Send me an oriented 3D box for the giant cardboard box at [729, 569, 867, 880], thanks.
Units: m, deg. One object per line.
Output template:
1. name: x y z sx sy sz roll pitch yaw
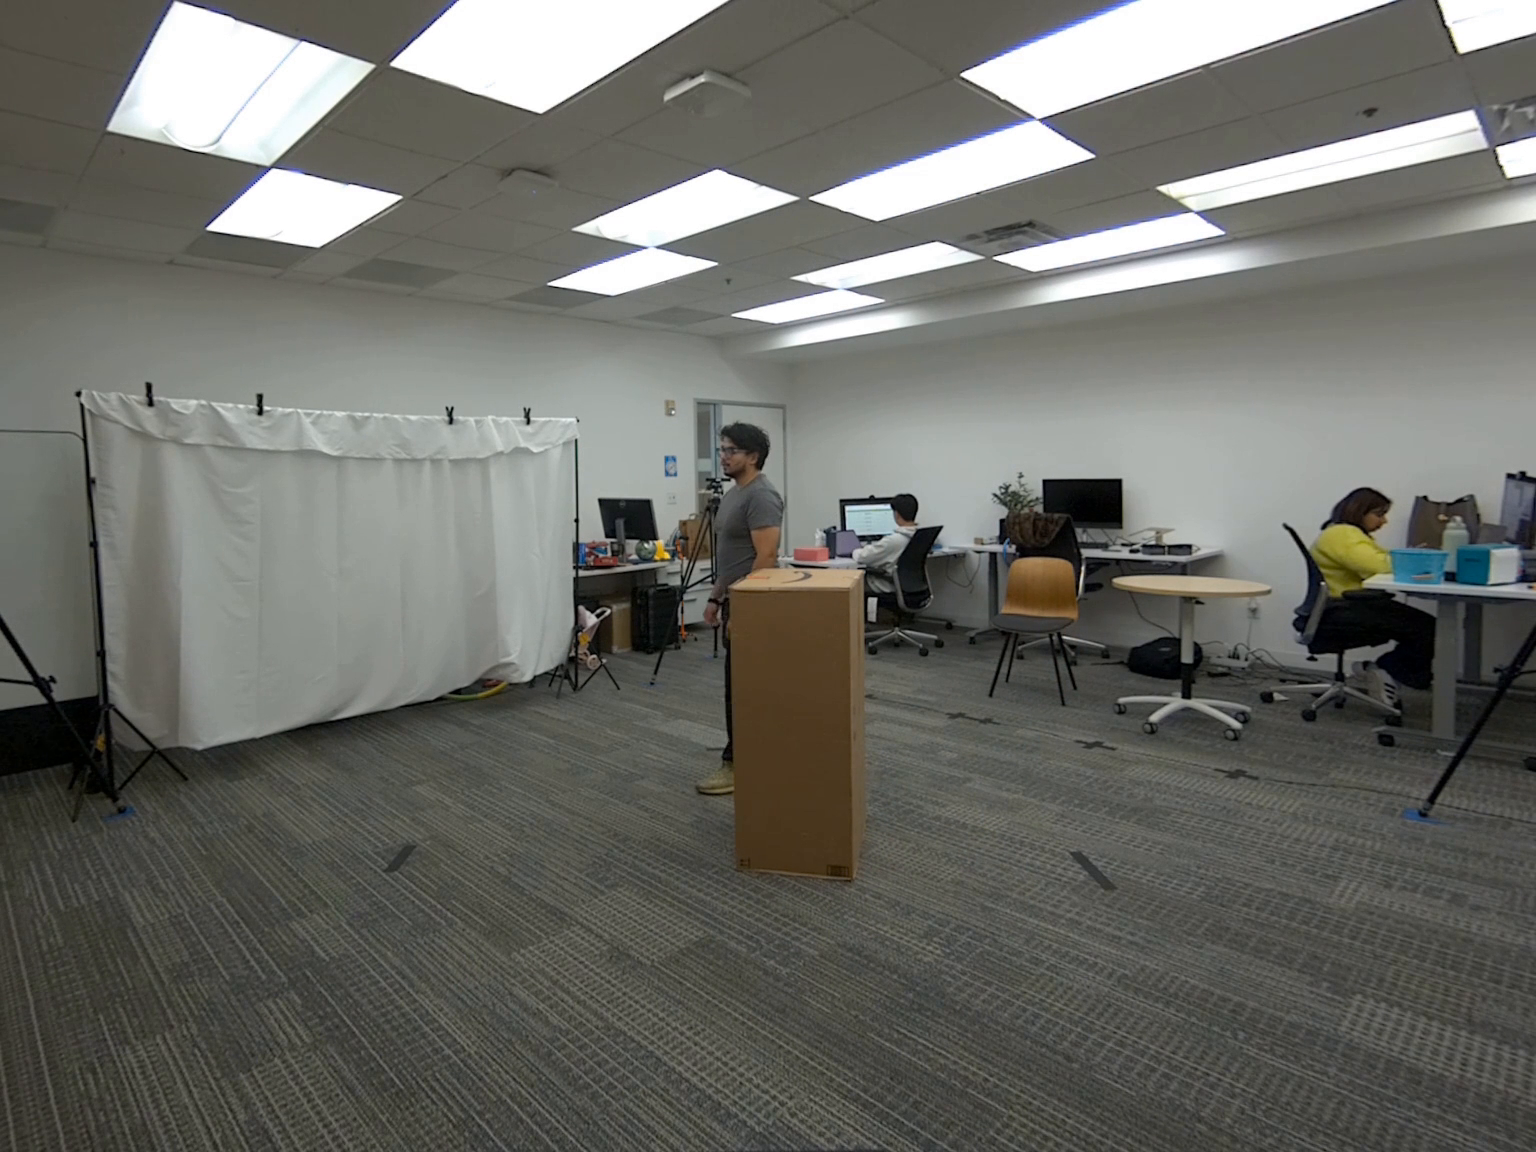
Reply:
1. giant cardboard box: 0.131 0.513 3.238 0.432 1.022 0.572 0 5 13
